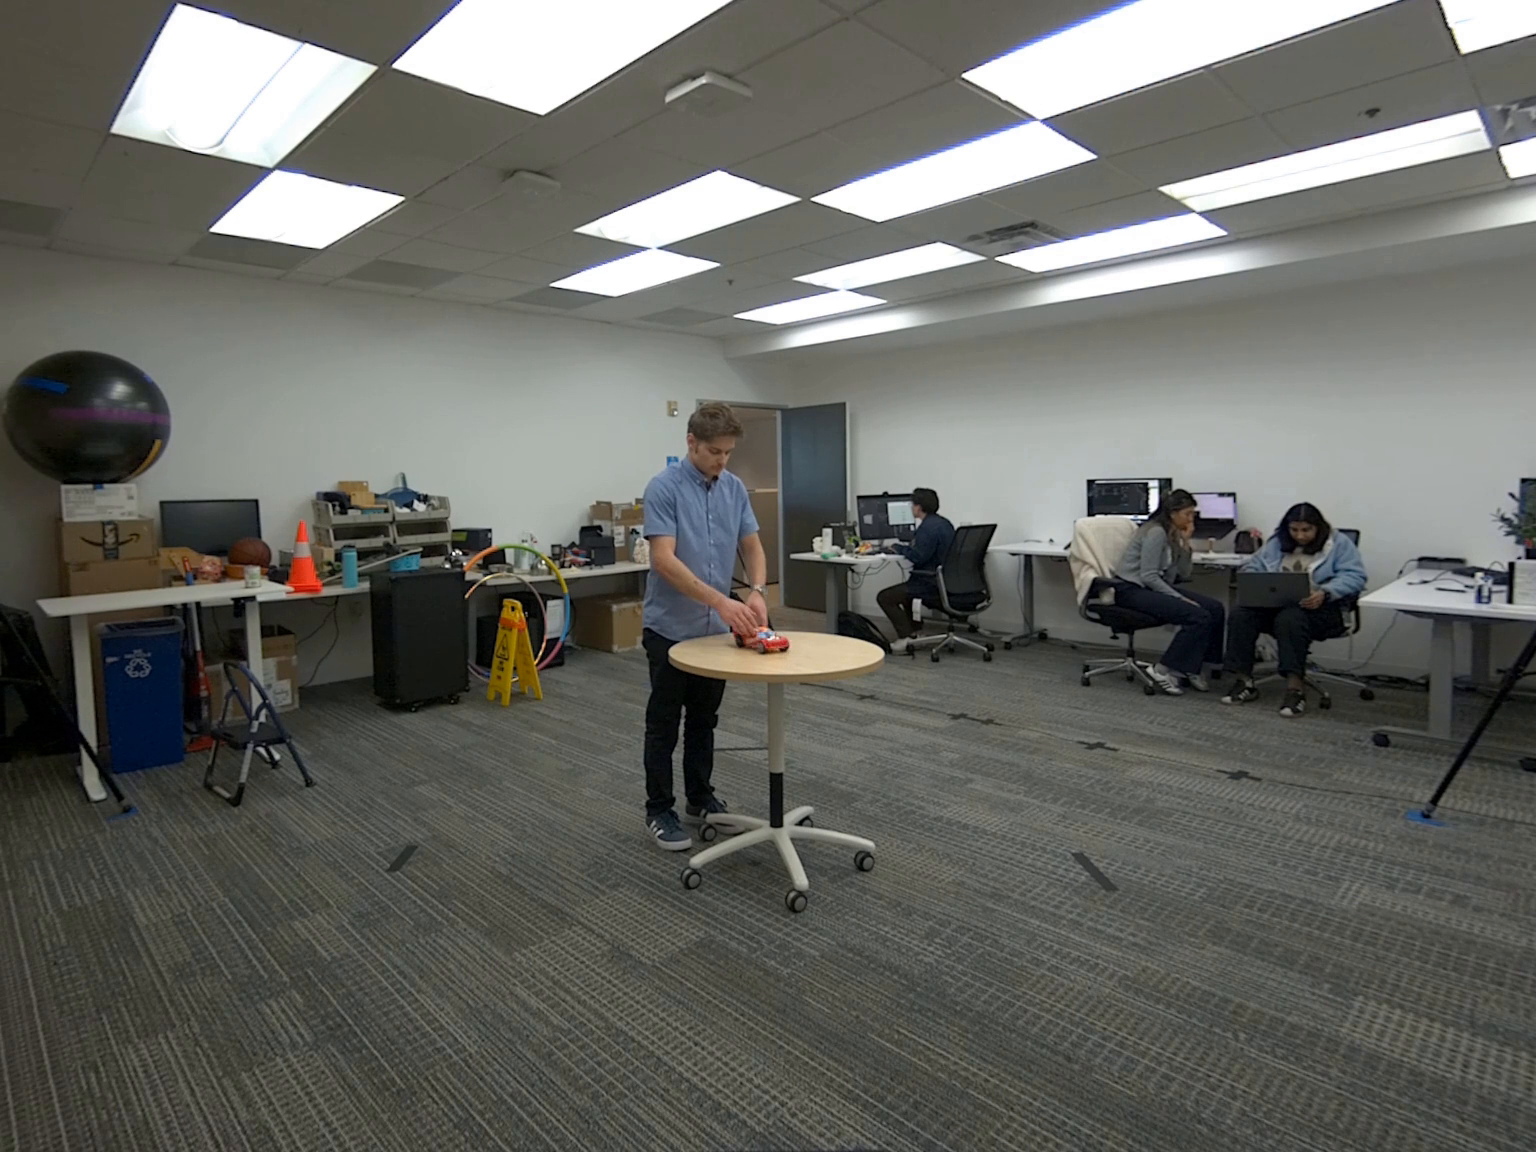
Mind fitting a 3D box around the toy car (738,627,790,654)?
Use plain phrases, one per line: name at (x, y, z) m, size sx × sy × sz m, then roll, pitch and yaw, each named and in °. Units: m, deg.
toy car at (-0.029, 0.230, 3.094) m, size 0.127 × 0.082 × 0.263 m, roll -4°, pitch 17°, yaw -31°
